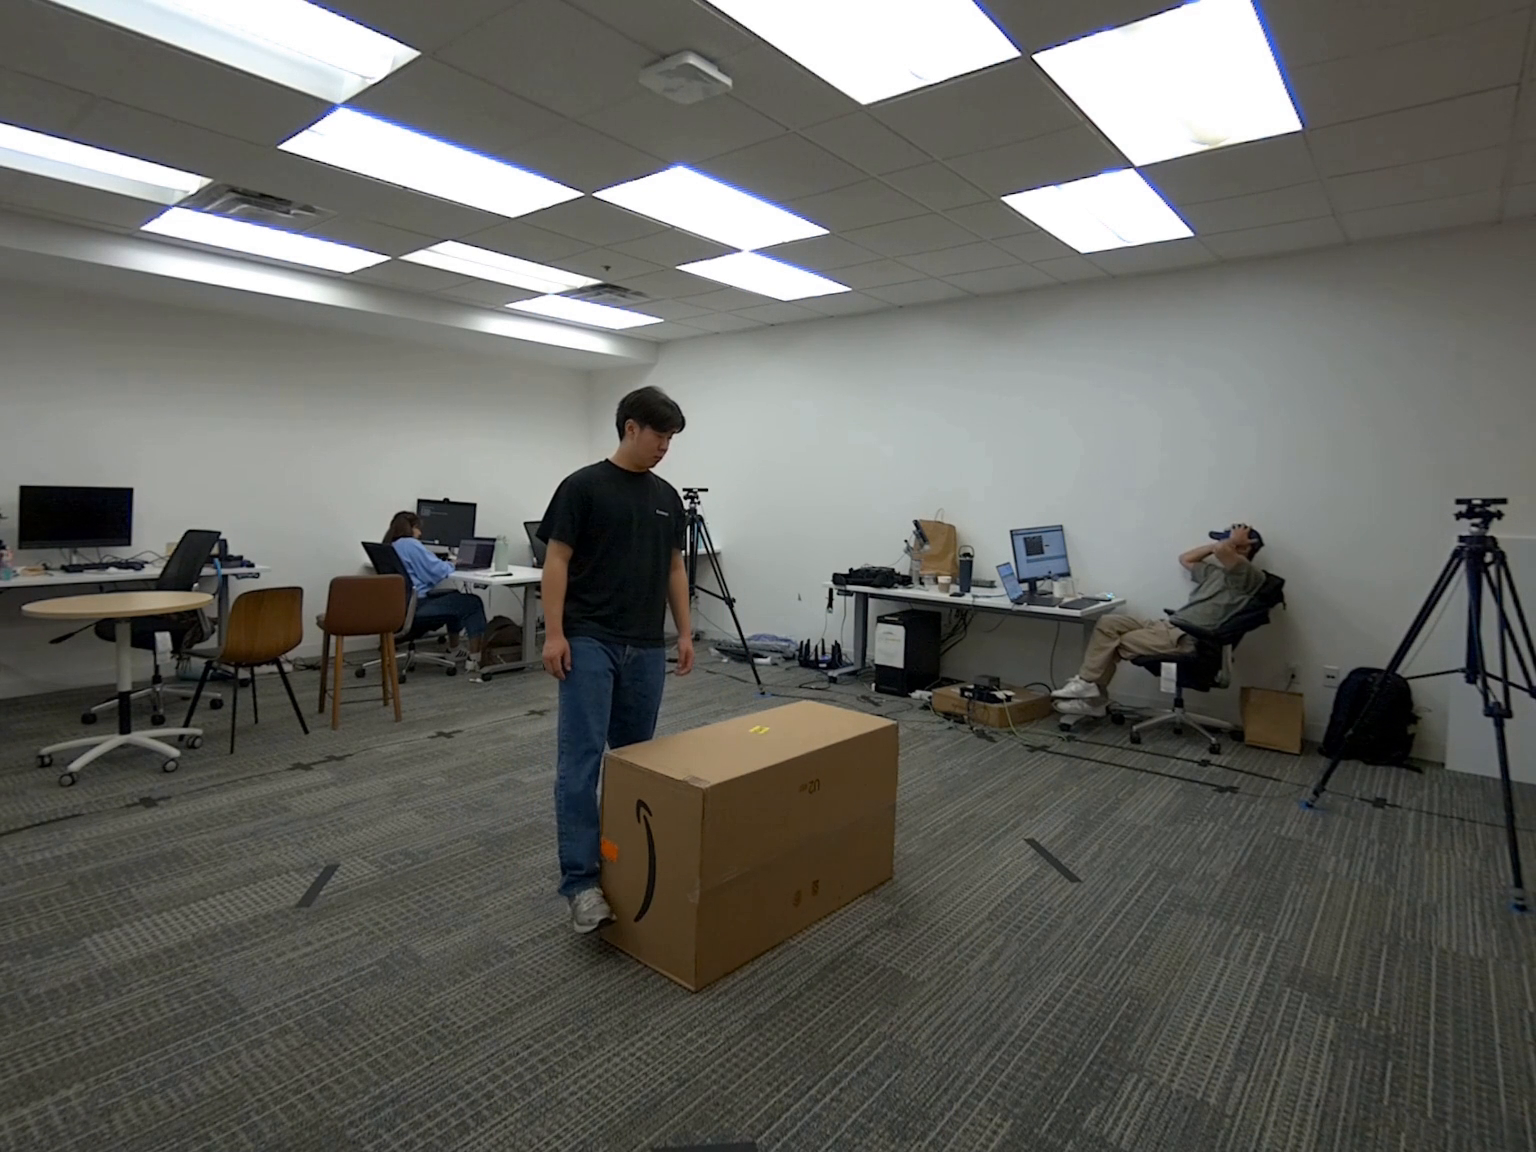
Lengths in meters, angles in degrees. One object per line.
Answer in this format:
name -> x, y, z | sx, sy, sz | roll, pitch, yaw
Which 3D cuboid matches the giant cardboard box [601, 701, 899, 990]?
giant cardboard box -> -0.025, 0.815, 2.838 | 0.462, 0.582, 0.996 | 3, 5, 40
